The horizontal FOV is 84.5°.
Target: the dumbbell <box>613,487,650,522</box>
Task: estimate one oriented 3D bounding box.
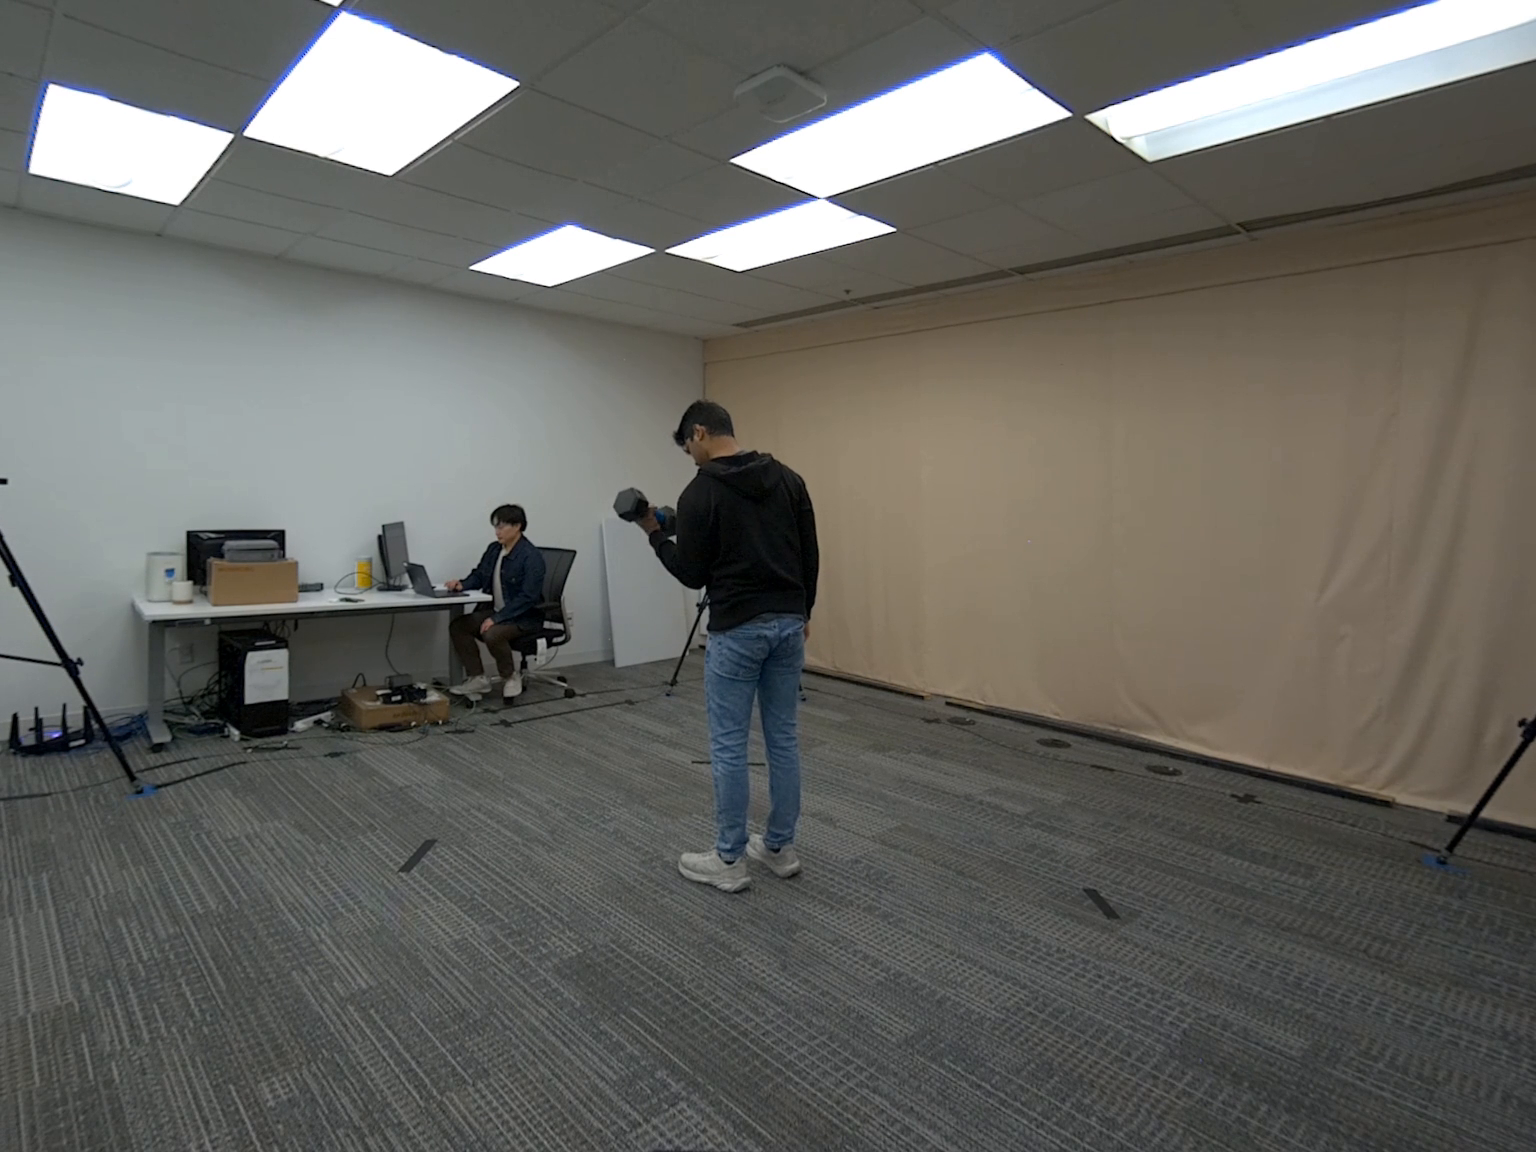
[{"bbox_3d":[-0.451,-0.218,3.167,0.112,0.123,0.285,17,-7,35],"label":"dumbbell"}]
